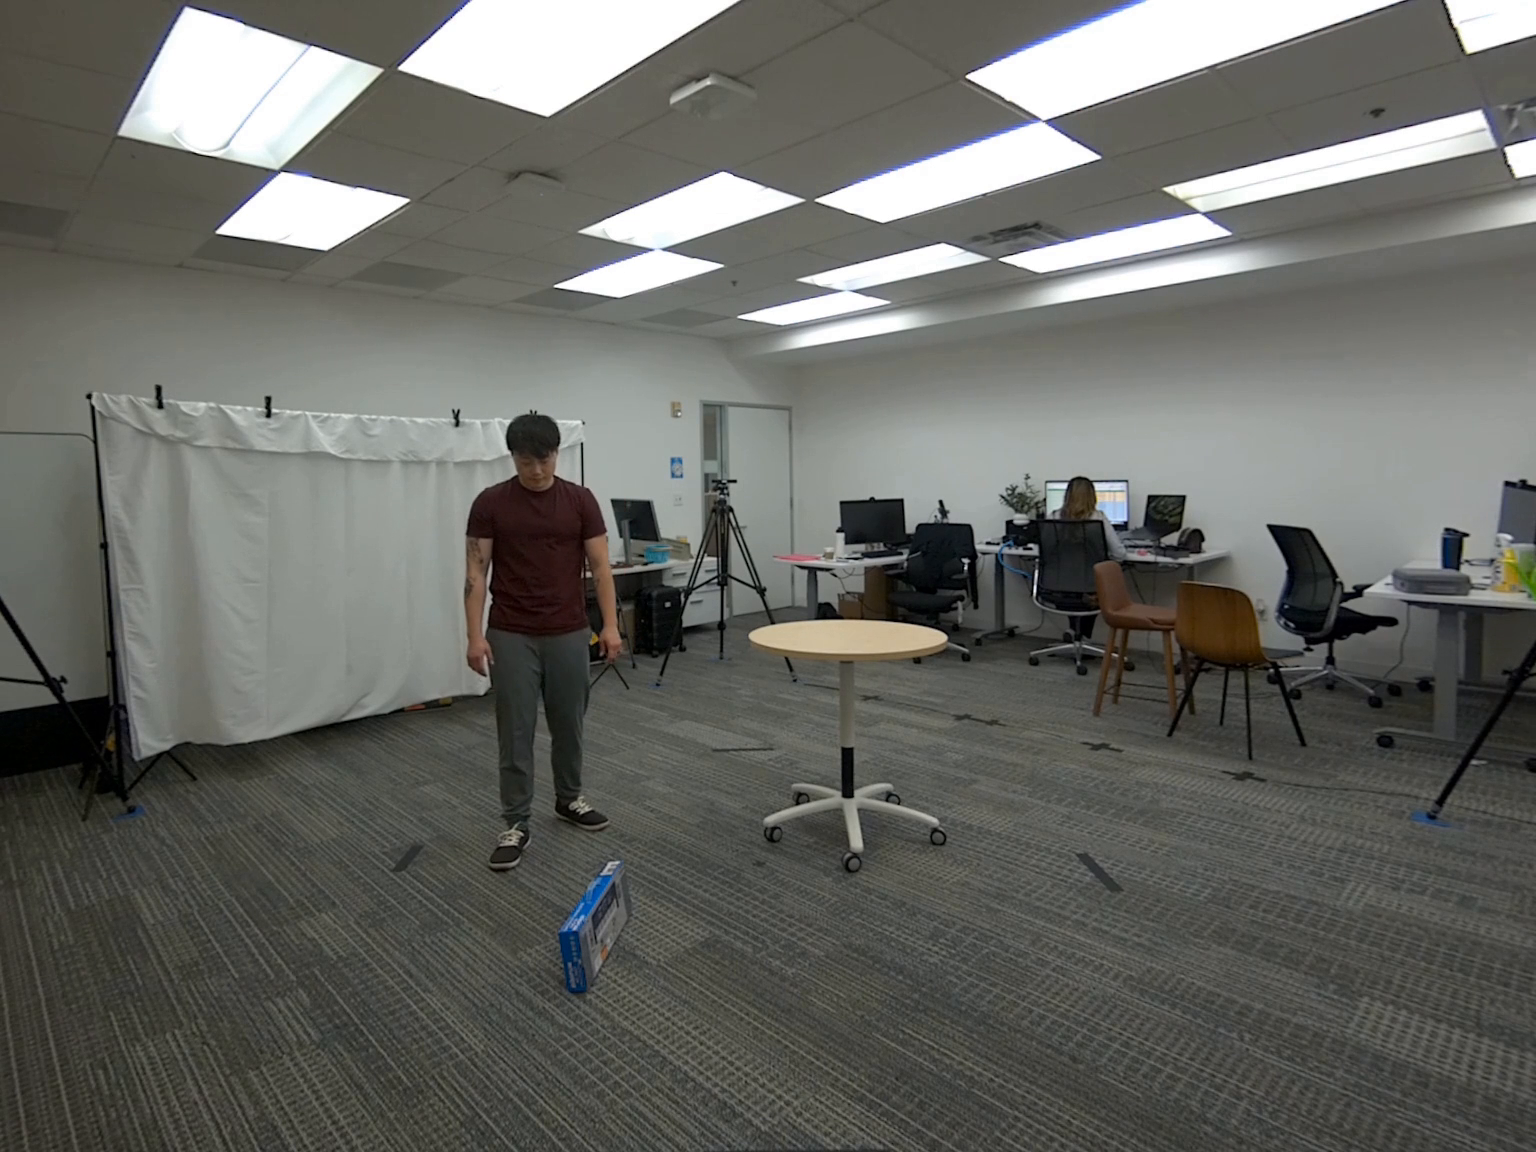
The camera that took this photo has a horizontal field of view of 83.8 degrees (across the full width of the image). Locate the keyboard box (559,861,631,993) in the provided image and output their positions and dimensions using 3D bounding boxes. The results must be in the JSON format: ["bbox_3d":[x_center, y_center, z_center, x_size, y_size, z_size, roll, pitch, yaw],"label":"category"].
[{"bbox_3d":[-0.505,1.034,2.552,0.059,0.175,0.435,-8,5,8],"label":"keyboard box"}]
